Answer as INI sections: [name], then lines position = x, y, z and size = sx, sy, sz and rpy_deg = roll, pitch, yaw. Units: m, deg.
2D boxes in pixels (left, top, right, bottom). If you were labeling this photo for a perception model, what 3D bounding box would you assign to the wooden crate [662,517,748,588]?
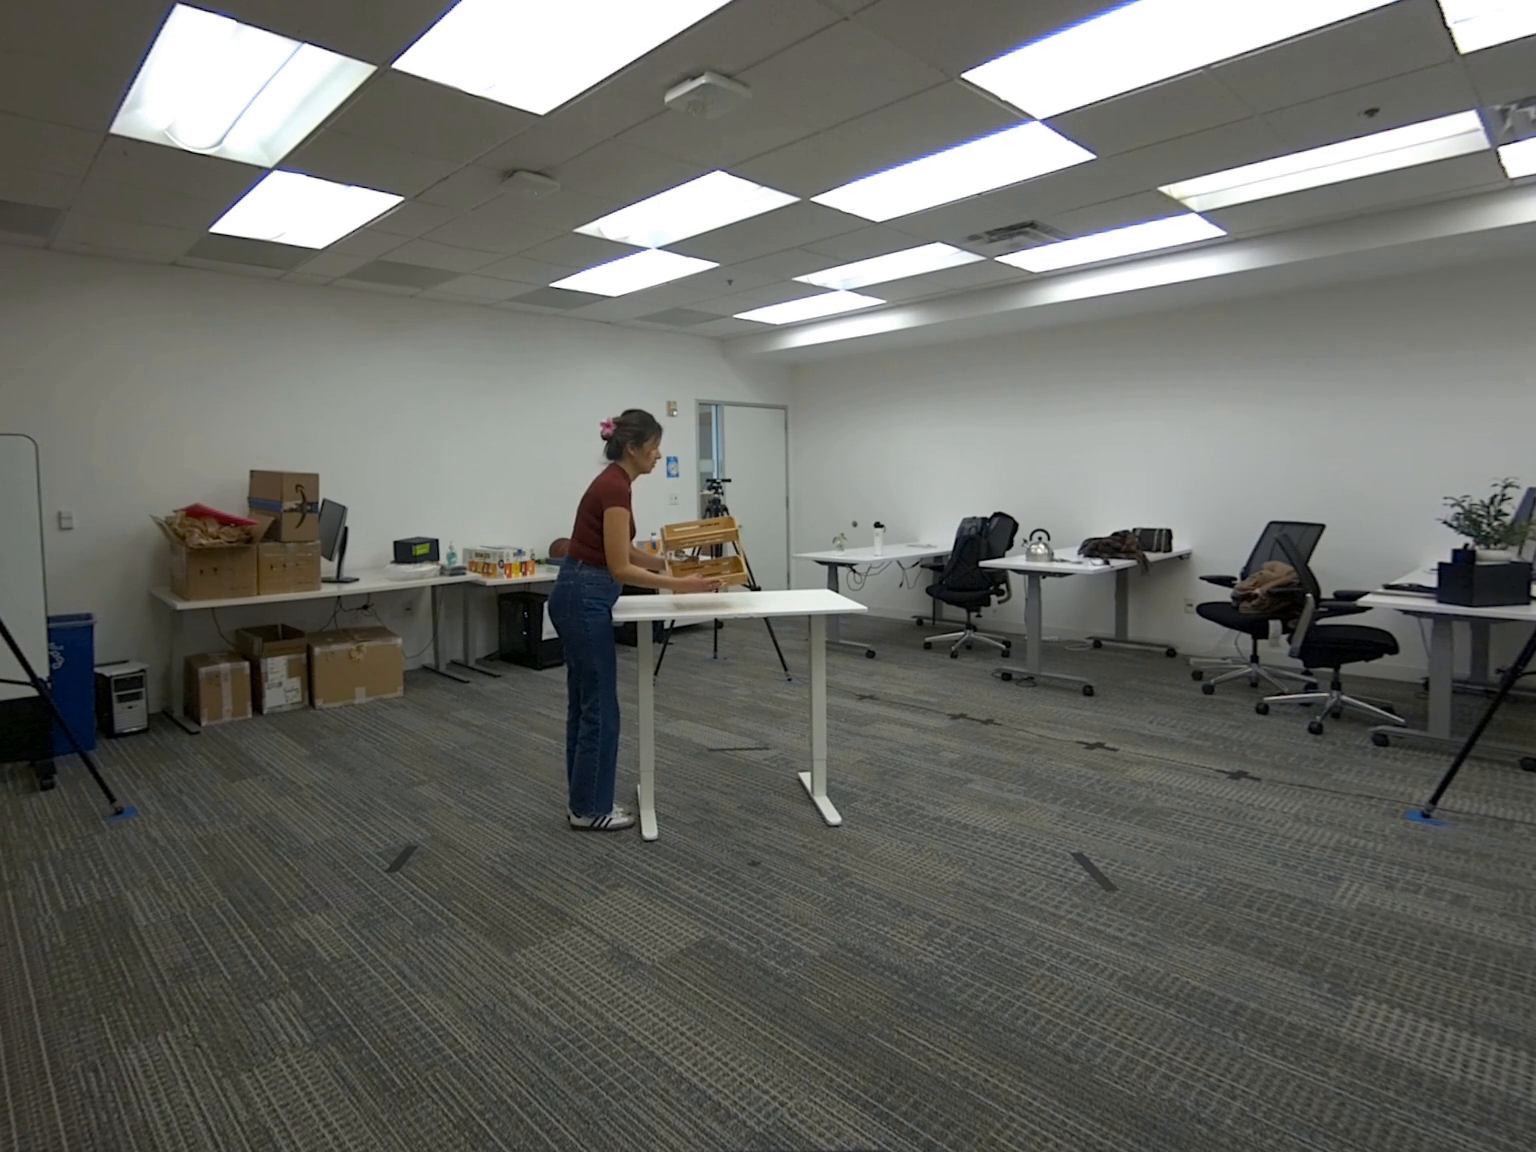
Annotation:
[wooden crate]
position = -0.266, -0.093, 3.488
size = 0.322, 0.272, 0.306
rpy_deg = -8, 7, -8
